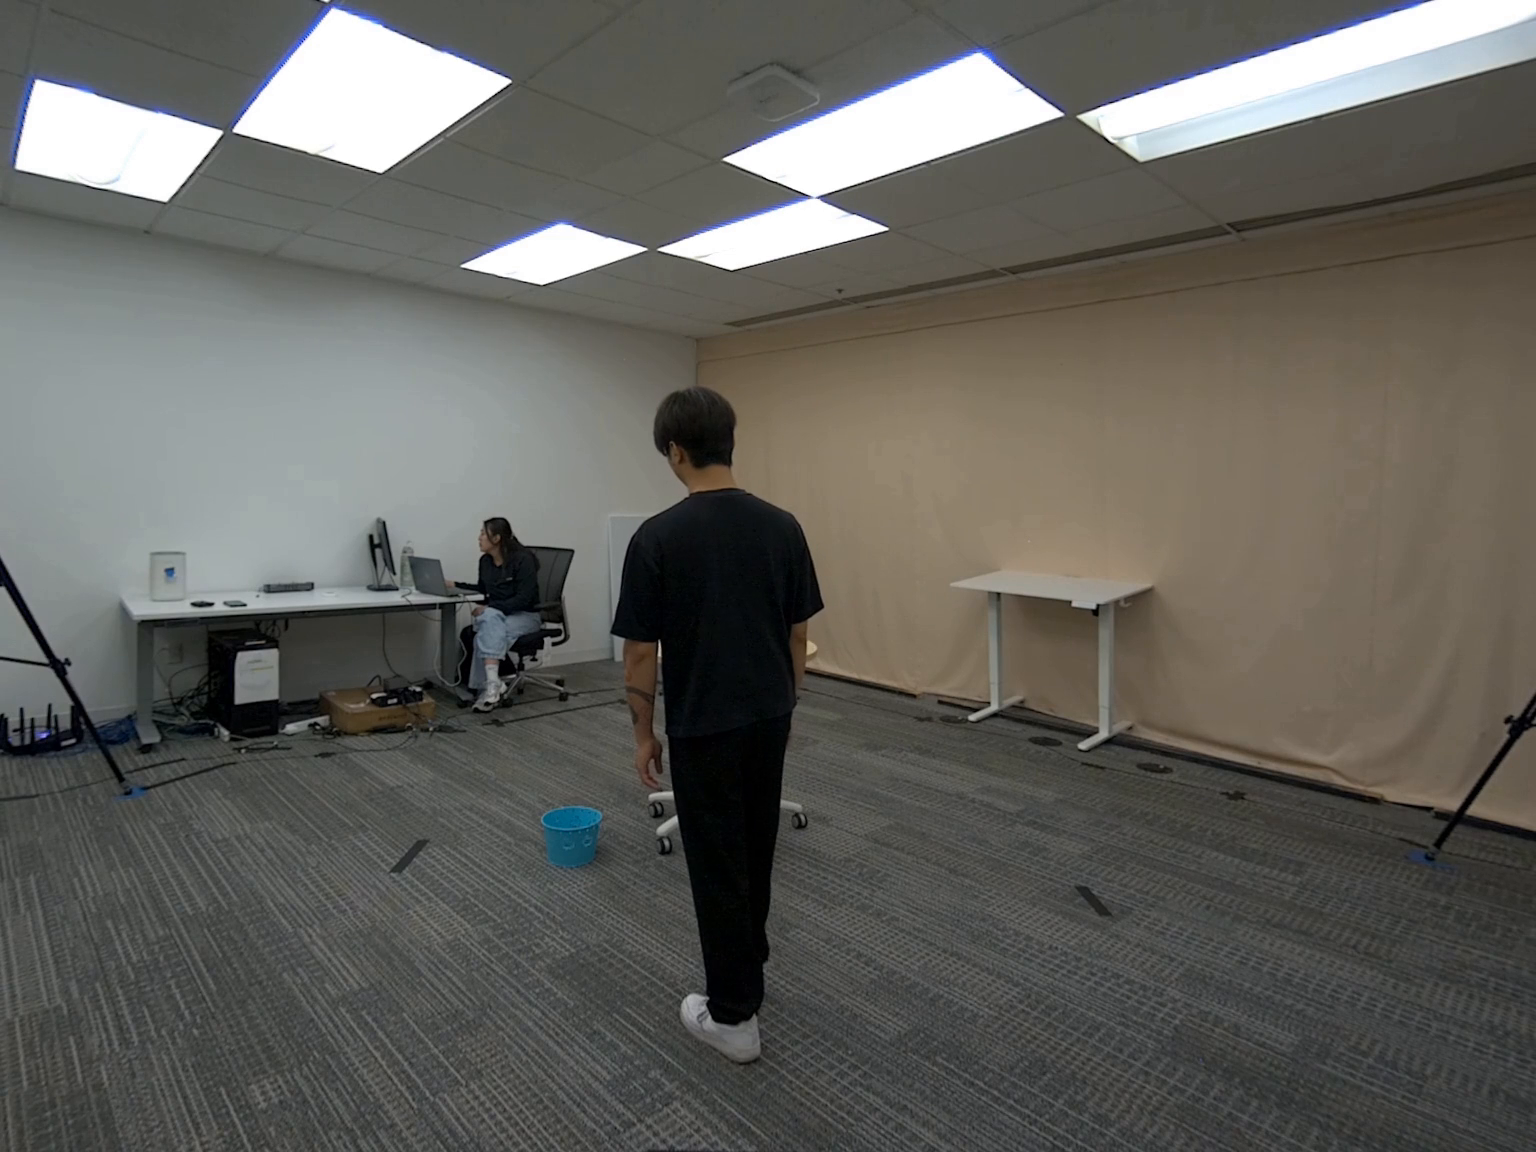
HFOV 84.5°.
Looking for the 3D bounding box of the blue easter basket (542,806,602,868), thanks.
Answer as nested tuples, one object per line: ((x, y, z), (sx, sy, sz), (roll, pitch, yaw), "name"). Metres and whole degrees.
((-0.758, 0.999, 3.233), (0.243, 0.155, 0.244), (2, 5, -2), "blue easter basket")
